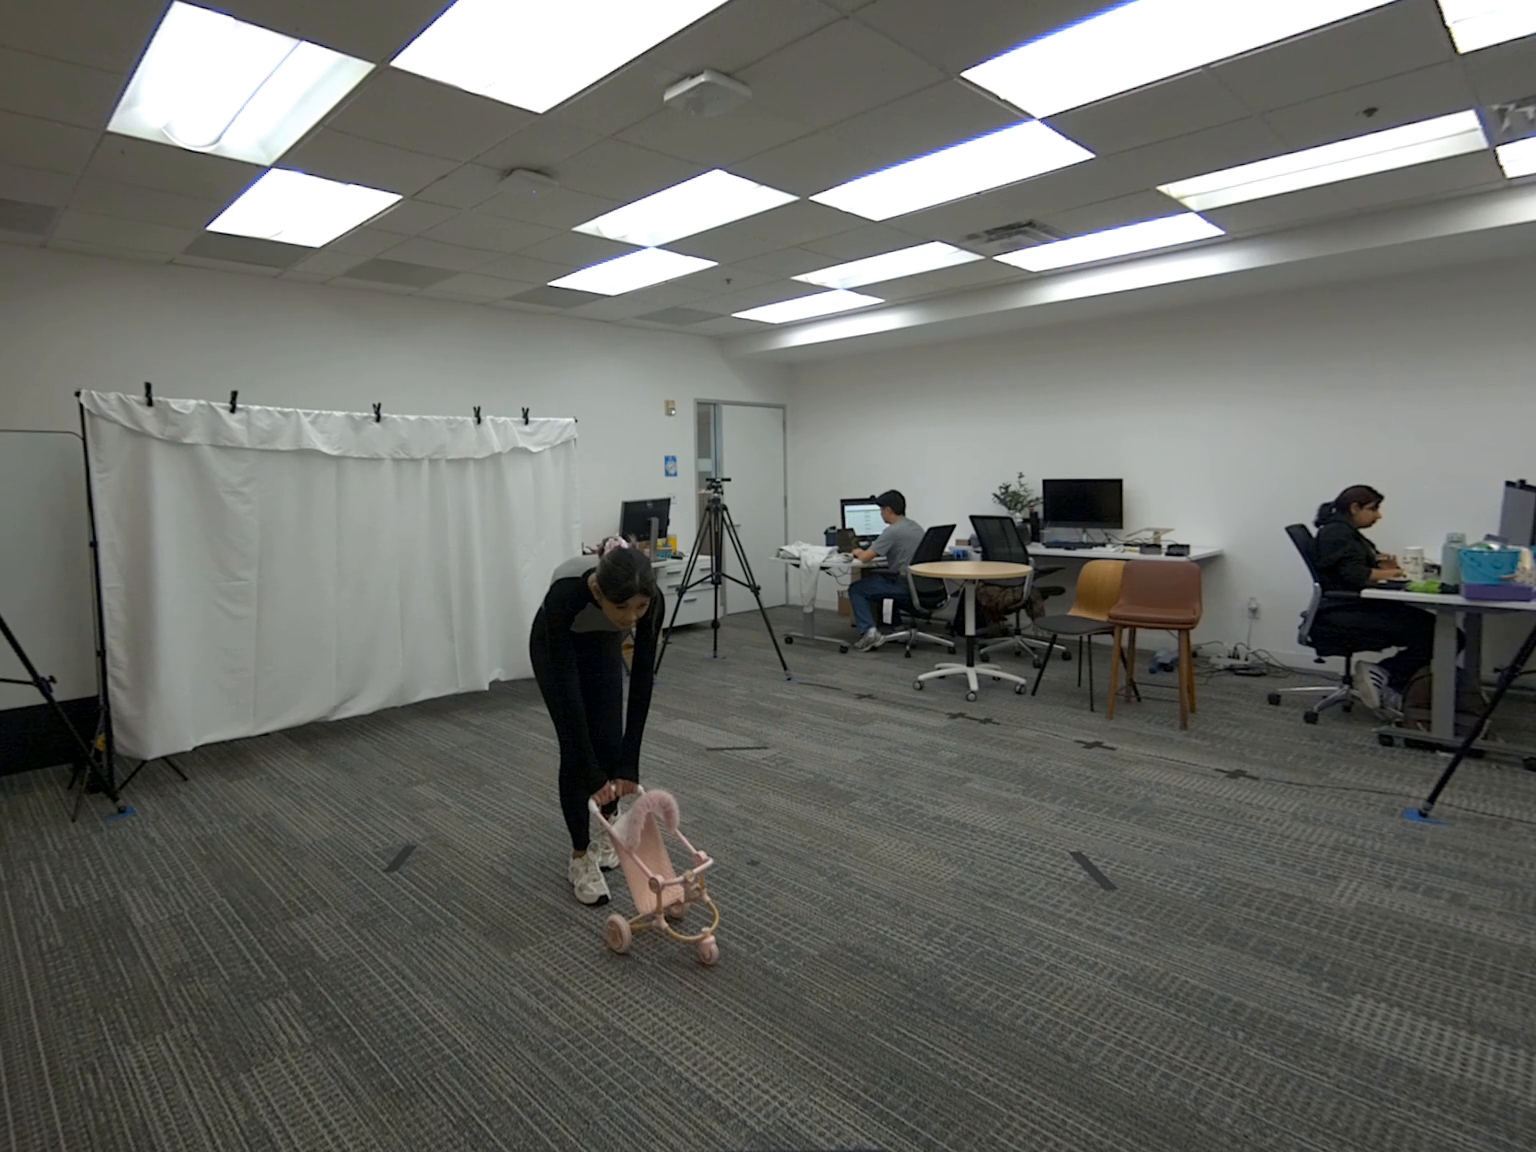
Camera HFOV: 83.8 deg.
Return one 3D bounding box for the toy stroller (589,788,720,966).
[{"bbox_3d":[-0.324,0.884,2.580,0.274,0.539,0.347,-7,-10,-46],"label":"toy stroller"}]
